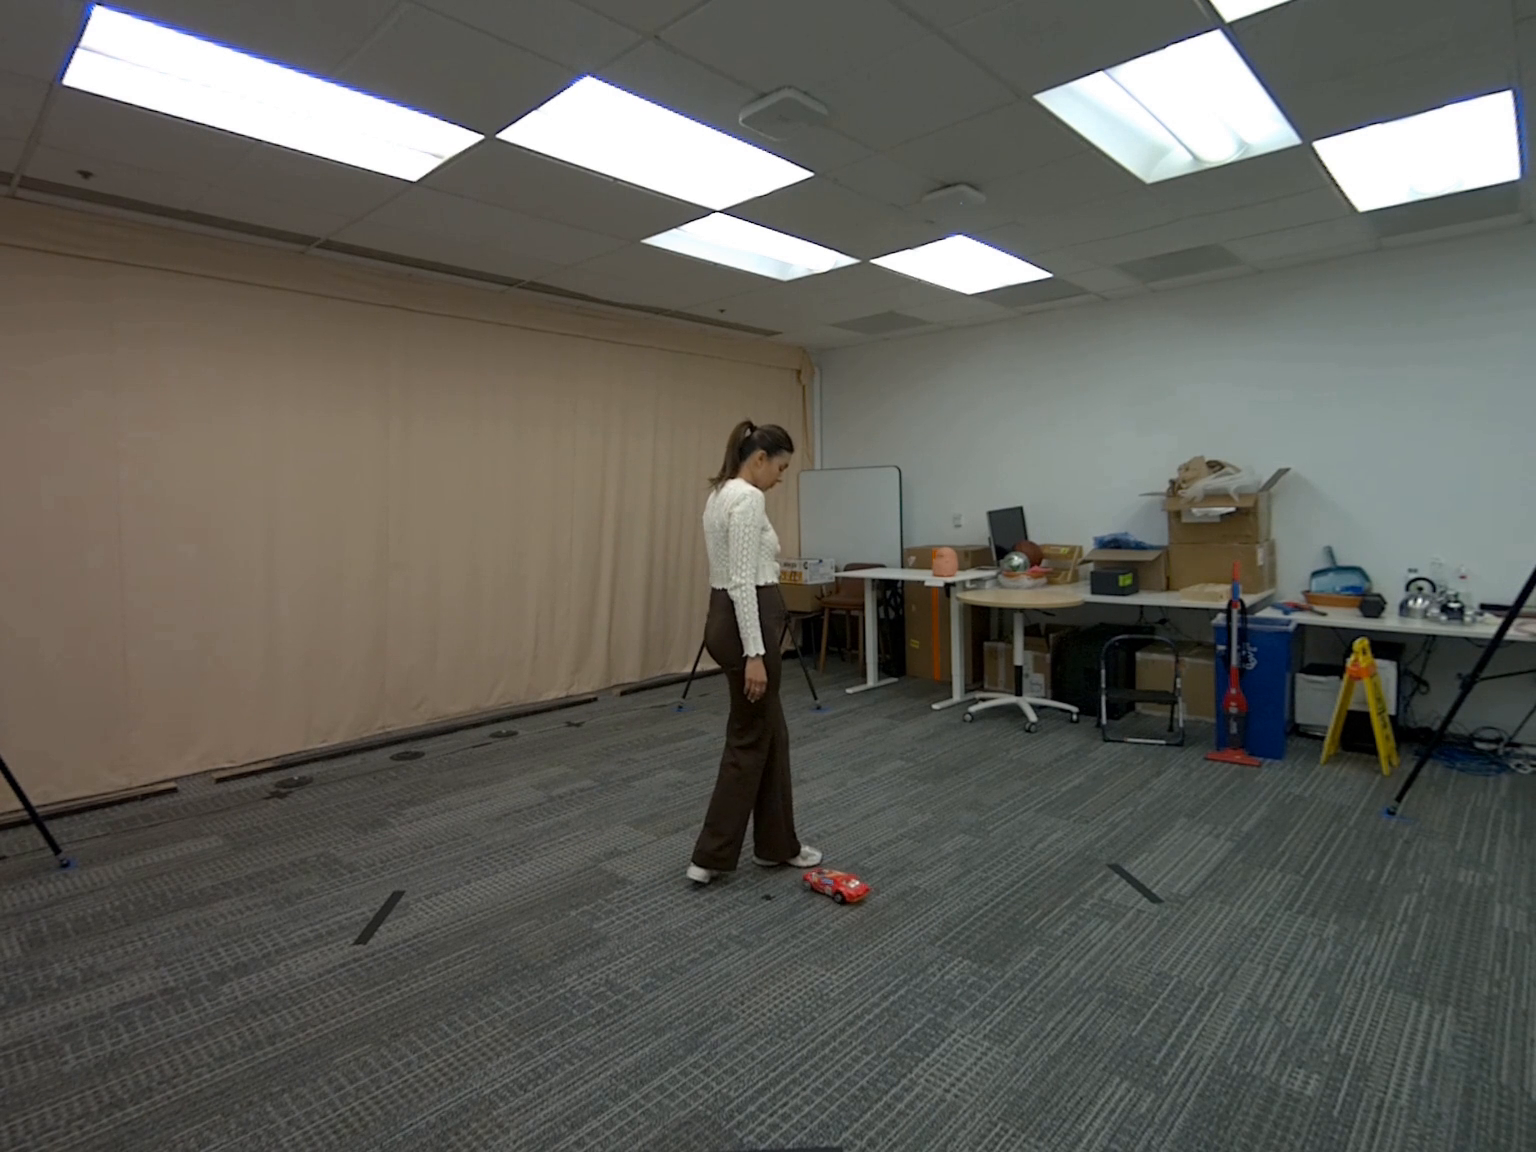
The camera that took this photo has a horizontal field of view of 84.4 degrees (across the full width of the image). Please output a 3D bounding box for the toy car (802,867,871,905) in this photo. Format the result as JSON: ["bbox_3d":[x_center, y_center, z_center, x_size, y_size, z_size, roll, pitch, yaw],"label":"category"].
[{"bbox_3d":[0.244,1.103,3.000,0.126,0.083,0.261,-6,-4,-45],"label":"toy car"}]
